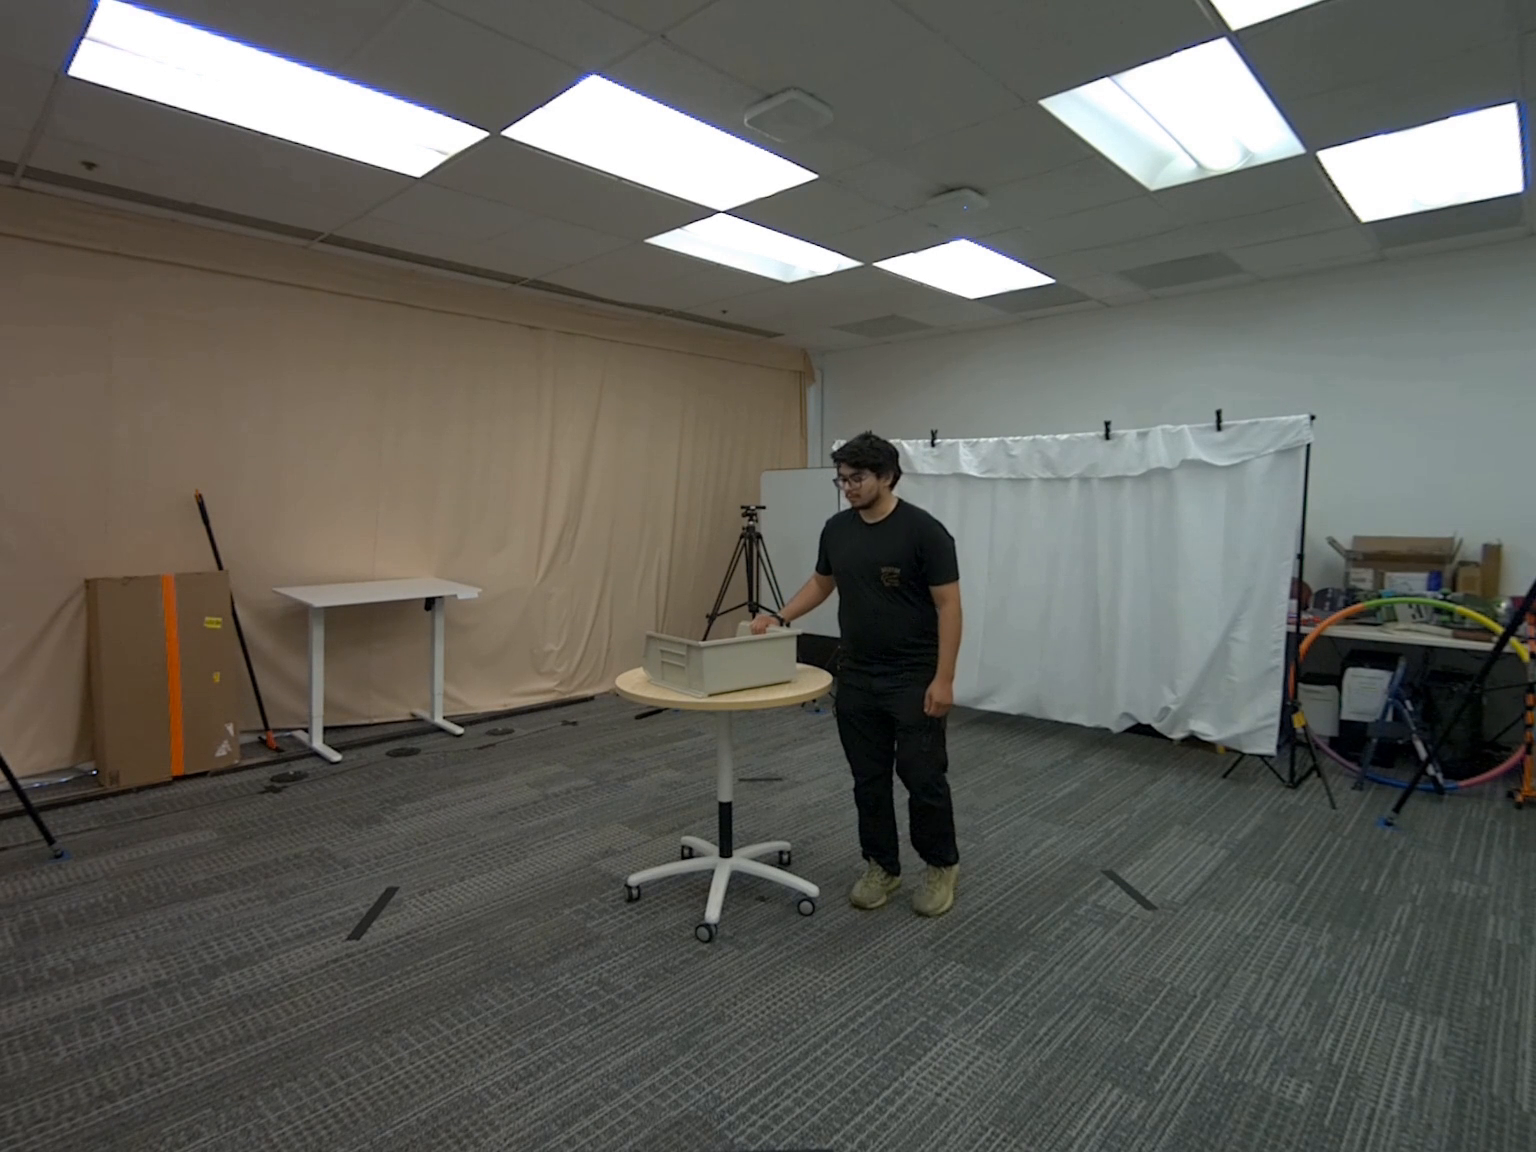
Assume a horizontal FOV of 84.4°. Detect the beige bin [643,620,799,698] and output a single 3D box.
[{"bbox_3d":[-0.165,0.280,2.906,0.410,0.188,0.389,-3,6,-36],"label":"beige bin"}]
